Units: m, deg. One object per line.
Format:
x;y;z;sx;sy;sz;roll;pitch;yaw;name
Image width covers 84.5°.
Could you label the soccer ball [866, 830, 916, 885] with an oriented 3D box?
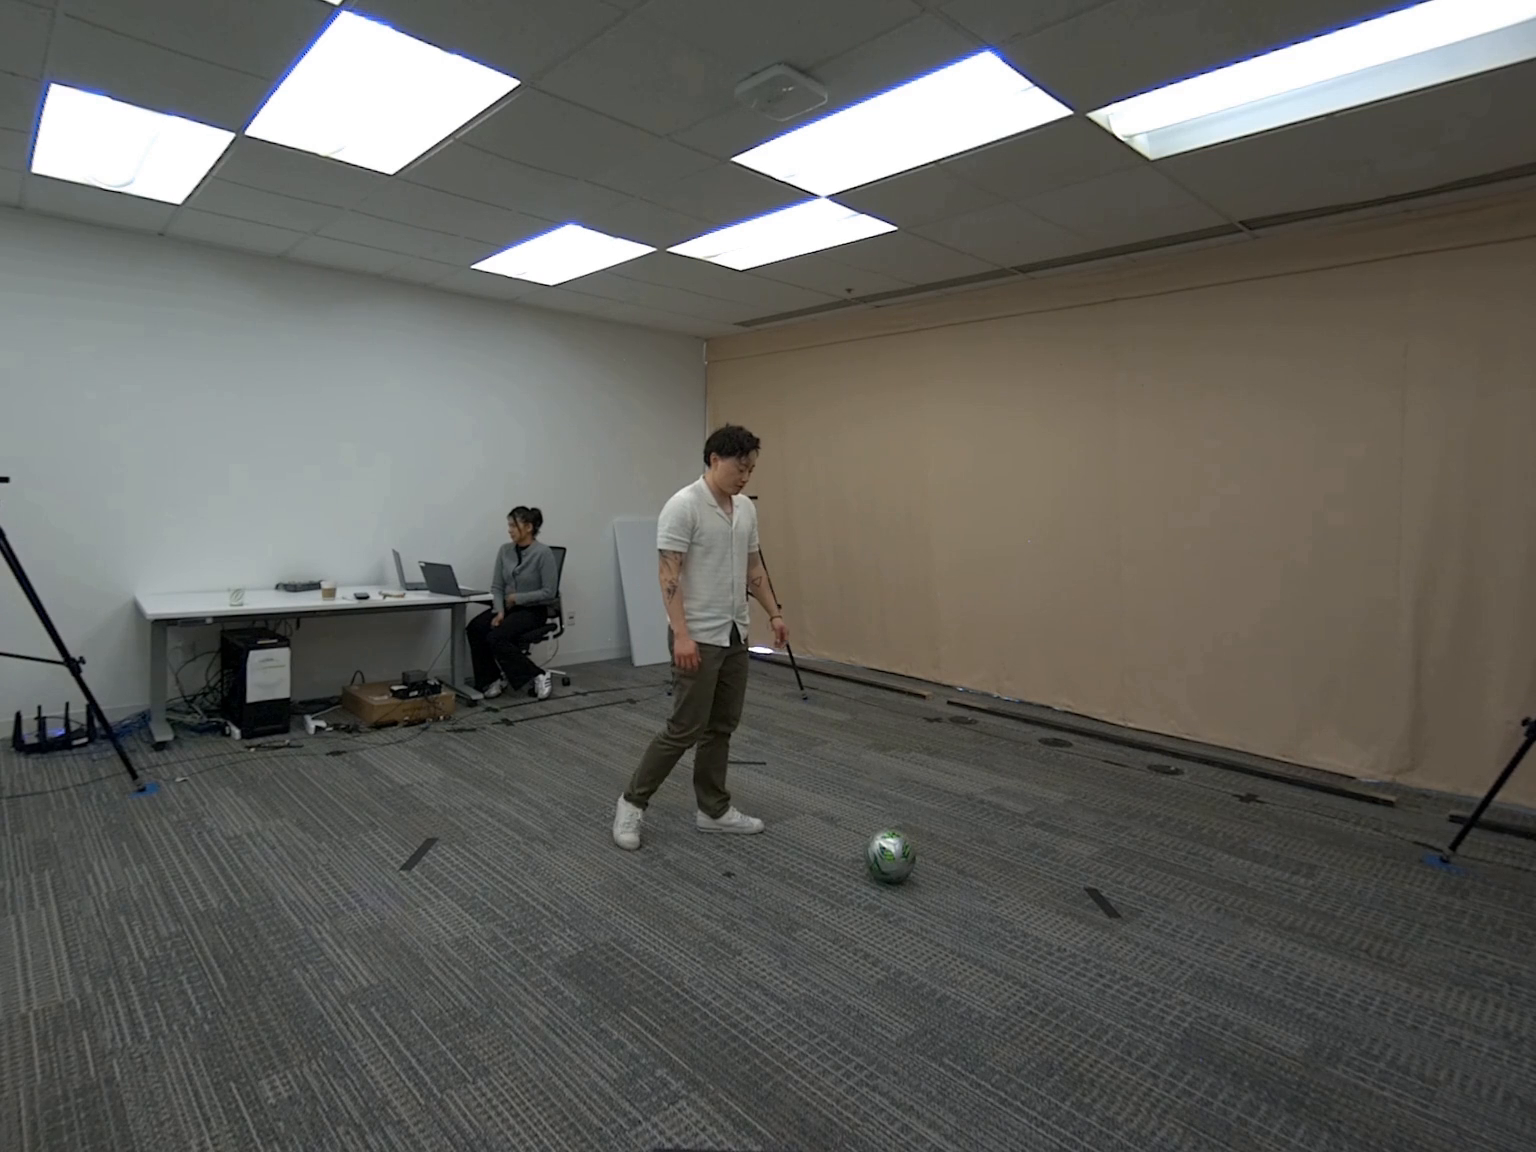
0.433;1.021;3.086;0.187;0.187;0.188;1;4;-1;soccer ball
